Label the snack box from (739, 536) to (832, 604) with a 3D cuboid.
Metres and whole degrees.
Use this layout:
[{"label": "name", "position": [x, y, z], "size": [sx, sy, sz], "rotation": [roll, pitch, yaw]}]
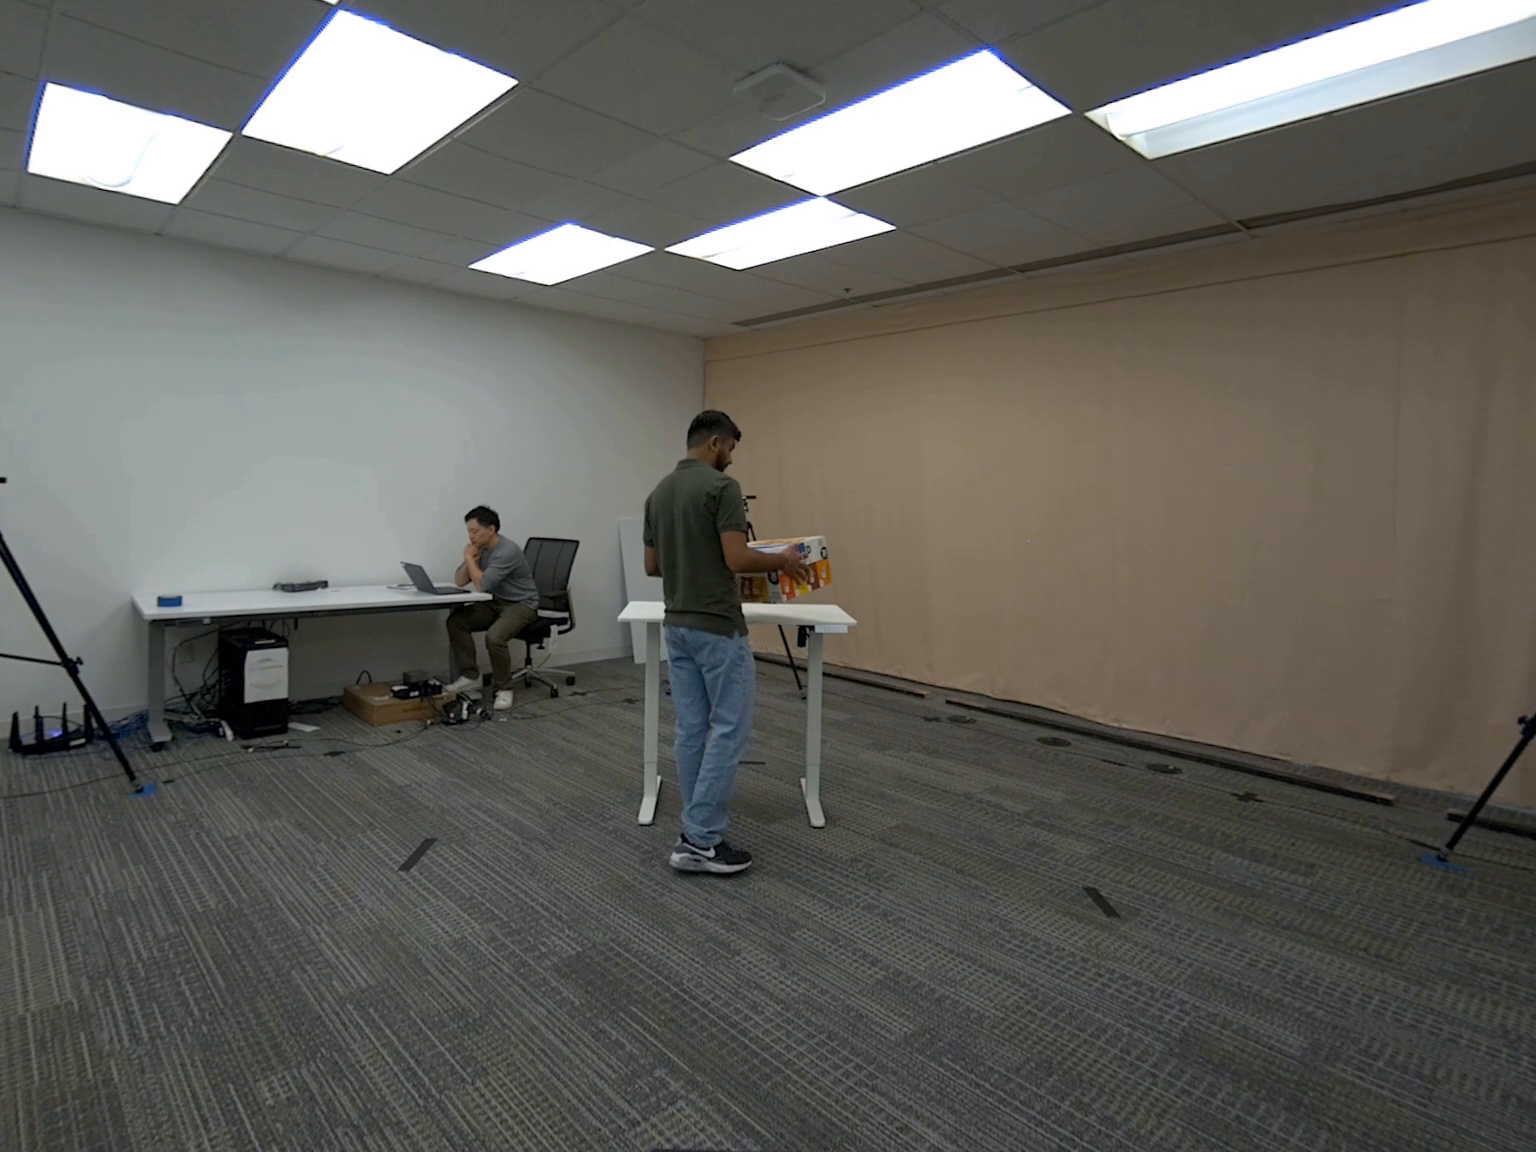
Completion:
[{"label": "snack box", "position": [-0.015, -0.029, 3.516], "size": [0.414, 0.204, 0.335], "rotation": [-3, 10, 41]}]
